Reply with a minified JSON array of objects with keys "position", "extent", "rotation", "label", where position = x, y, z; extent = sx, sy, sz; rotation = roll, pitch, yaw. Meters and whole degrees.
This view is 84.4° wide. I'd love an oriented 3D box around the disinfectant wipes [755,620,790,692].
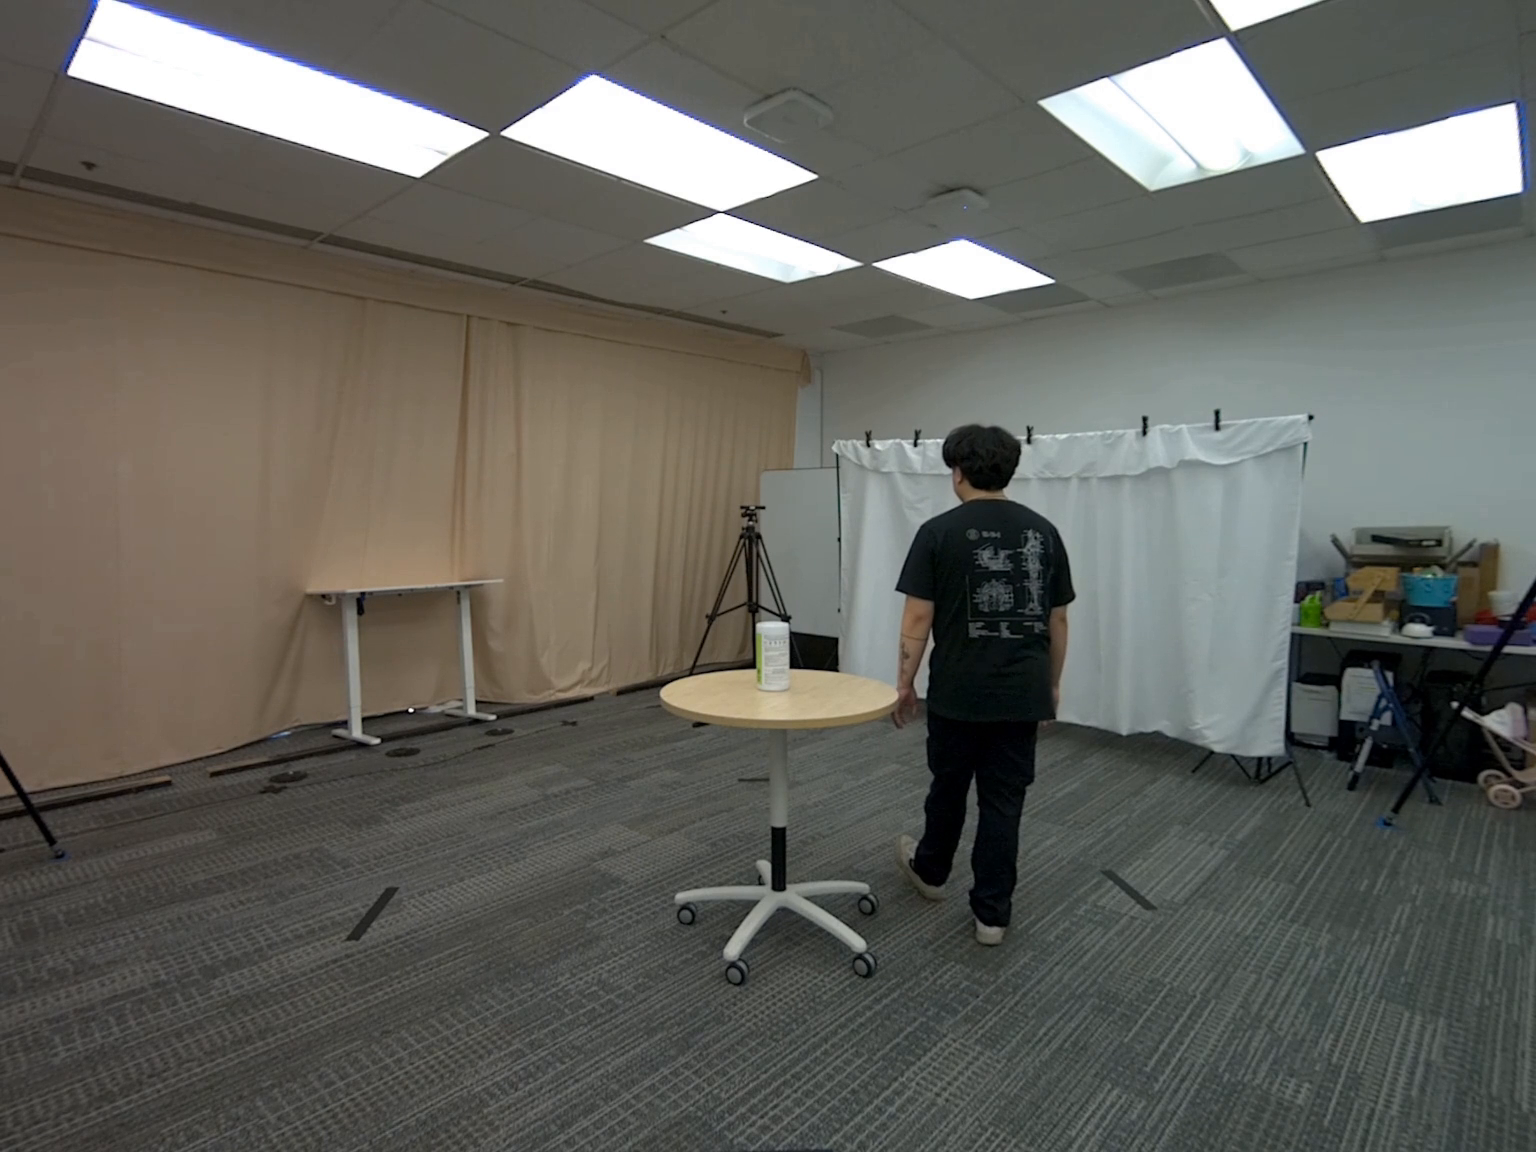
[{"position":[0.024,0.267,2.758],"extent":[0.118,0.217,0.118],"rotation":[-1,2,-2],"label":"disinfectant wipes"}]
